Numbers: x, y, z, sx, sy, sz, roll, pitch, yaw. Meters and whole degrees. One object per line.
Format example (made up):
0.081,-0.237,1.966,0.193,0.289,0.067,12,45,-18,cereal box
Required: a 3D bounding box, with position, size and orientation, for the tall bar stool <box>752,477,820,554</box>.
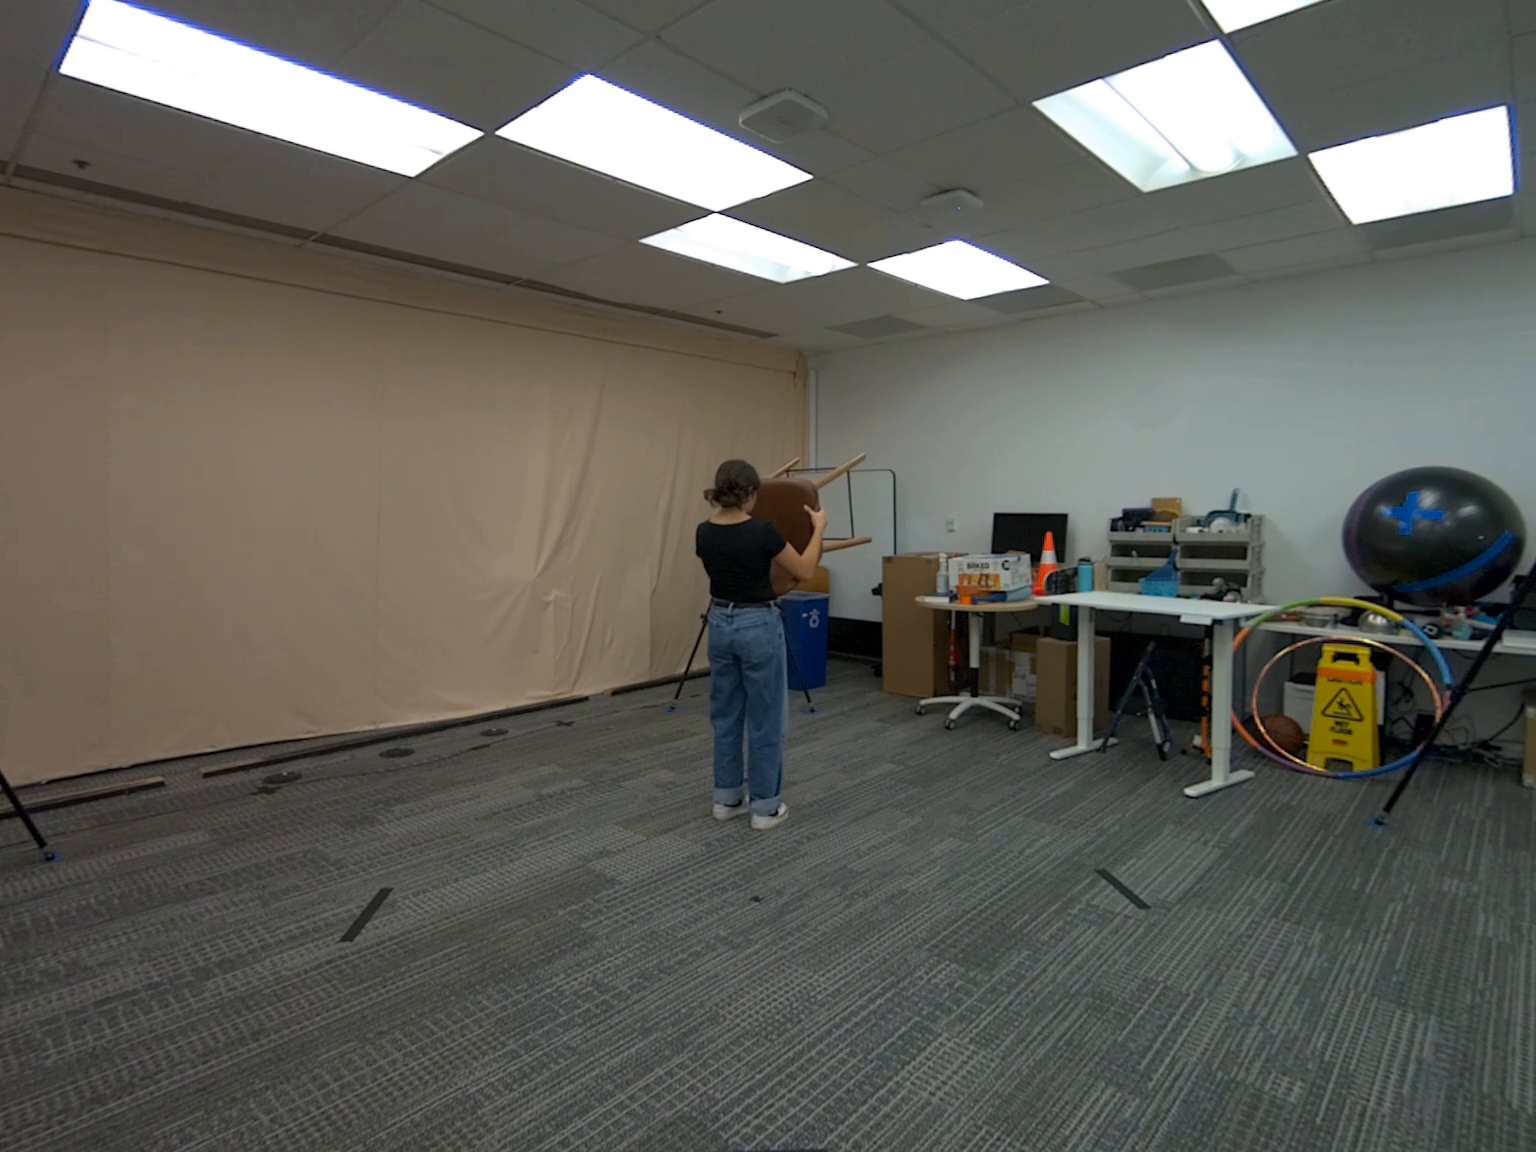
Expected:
0.127,-0.259,3.980,0.471,0.462,0.873,3,21,34,tall bar stool
